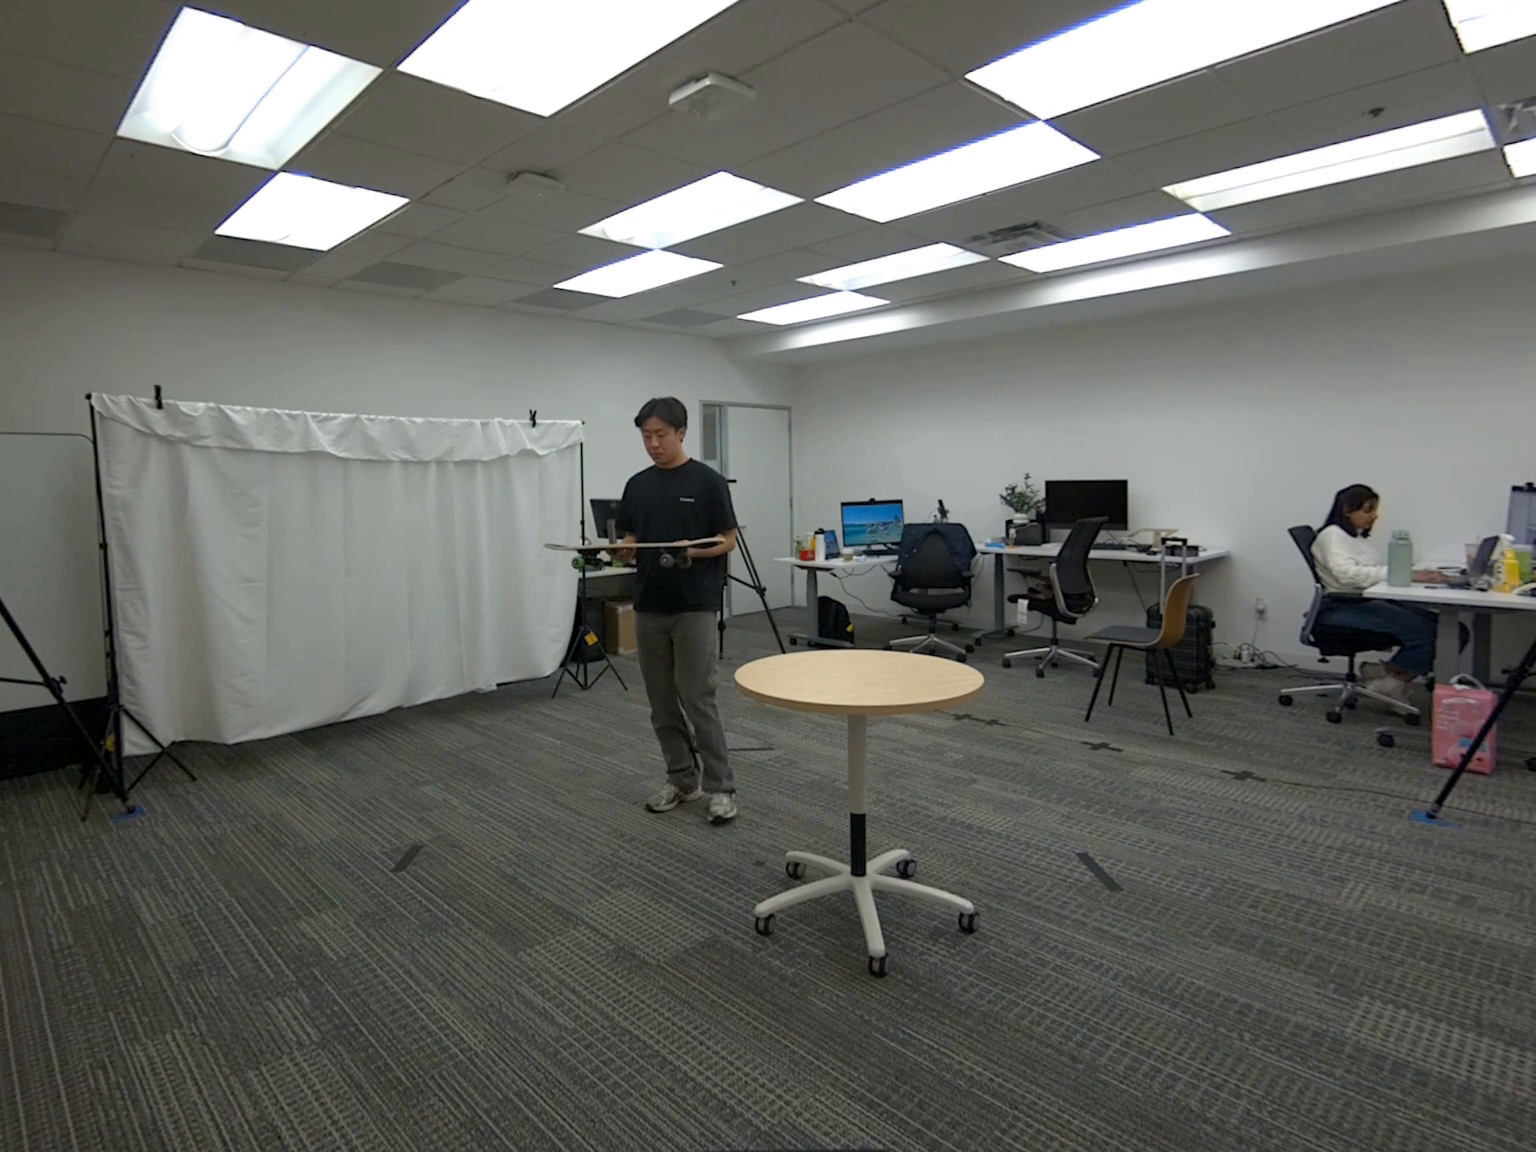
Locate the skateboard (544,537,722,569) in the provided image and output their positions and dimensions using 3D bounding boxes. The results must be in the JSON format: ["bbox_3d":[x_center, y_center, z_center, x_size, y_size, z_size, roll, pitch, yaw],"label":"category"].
[{"bbox_3d":[-0.563,-0.077,3.384,0.802,0.110,0.189,-1,0,24],"label":"skateboard"}]
